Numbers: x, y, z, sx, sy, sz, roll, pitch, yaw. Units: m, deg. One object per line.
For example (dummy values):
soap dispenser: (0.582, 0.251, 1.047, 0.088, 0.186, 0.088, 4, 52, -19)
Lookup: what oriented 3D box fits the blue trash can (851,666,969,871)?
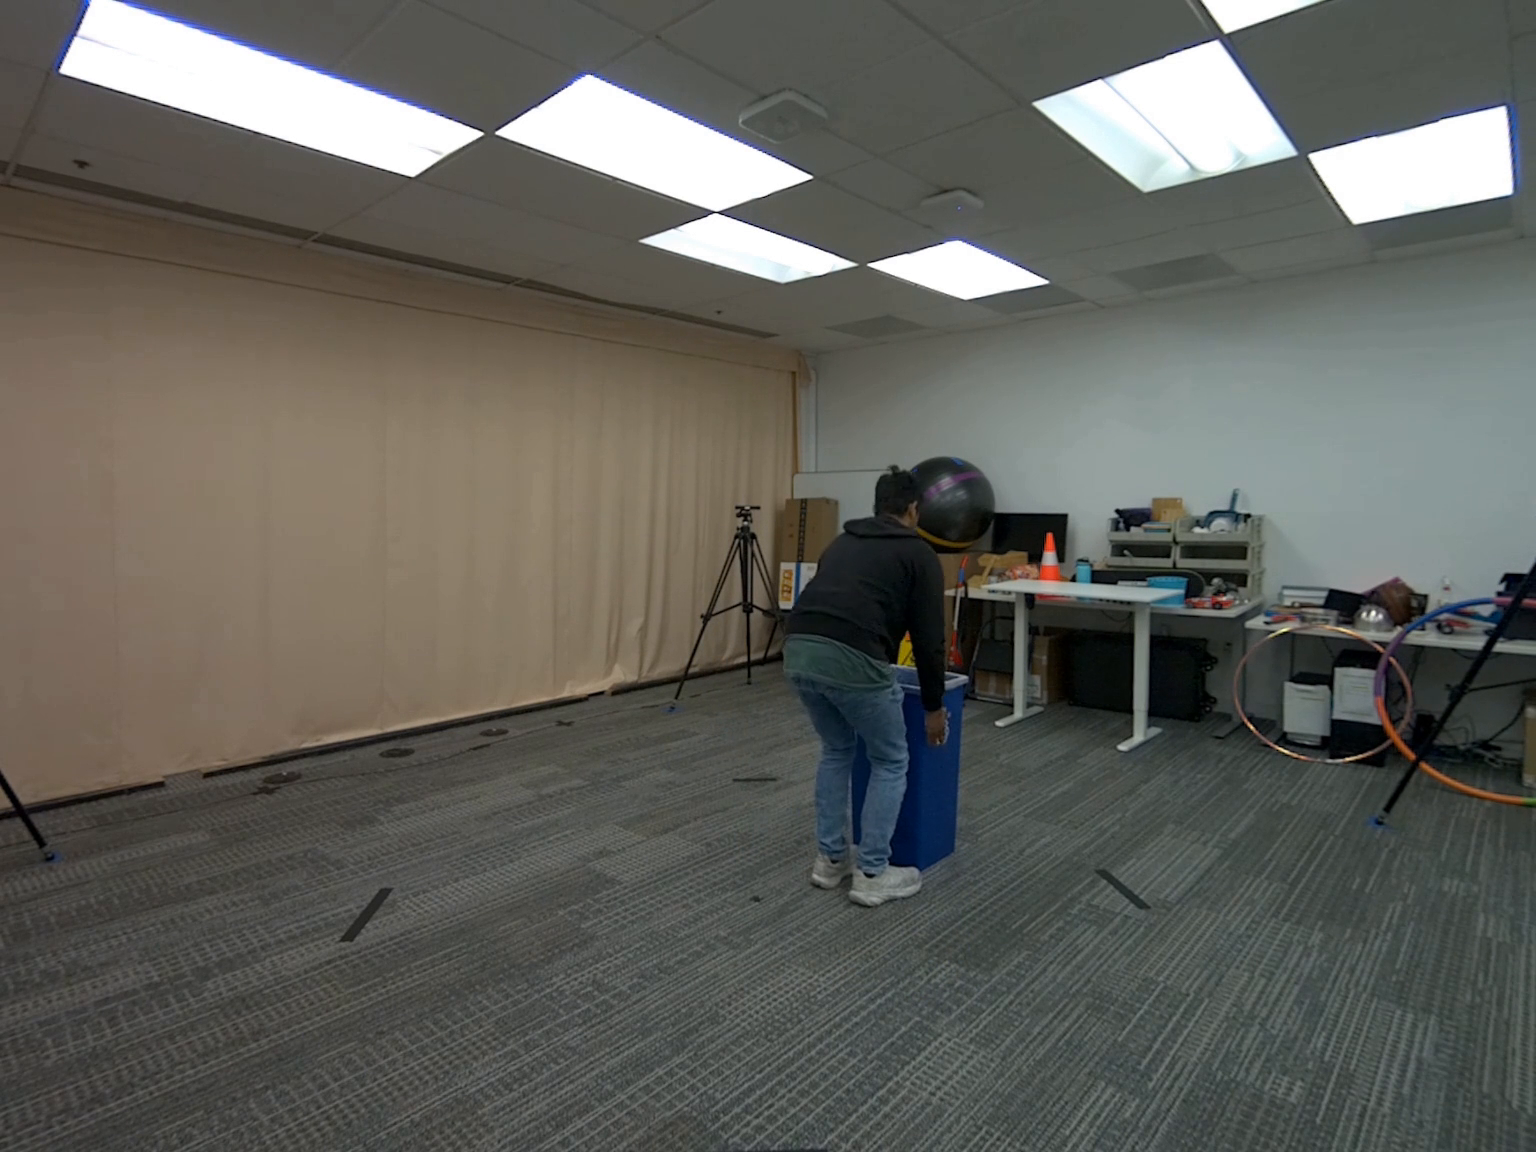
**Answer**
blue trash can: (0.556, 0.752, 3.384, 0.391, 0.712, 0.362, 4, 4, 42)
